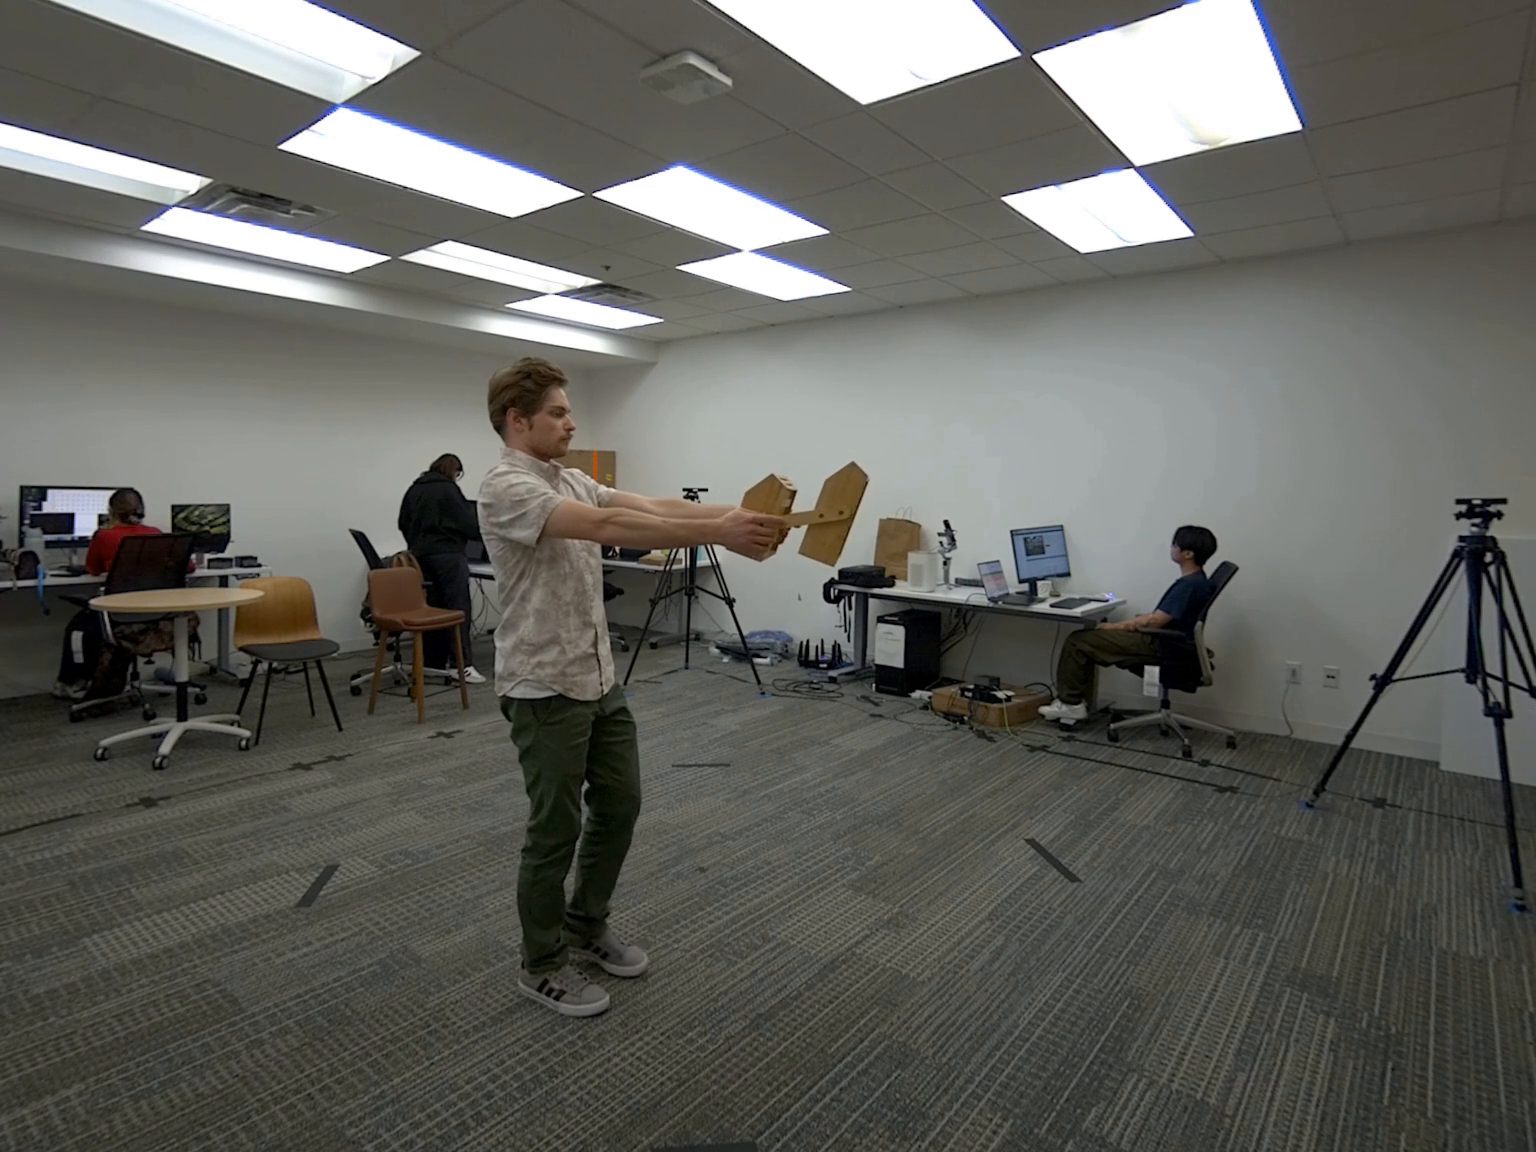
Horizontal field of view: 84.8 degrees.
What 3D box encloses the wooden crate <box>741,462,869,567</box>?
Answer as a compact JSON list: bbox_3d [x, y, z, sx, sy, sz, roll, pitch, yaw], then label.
[{"bbox_3d":[0.078,-0.173,2.154,0.276,0.301,0.322,21,6,7],"label":"wooden crate"}]
